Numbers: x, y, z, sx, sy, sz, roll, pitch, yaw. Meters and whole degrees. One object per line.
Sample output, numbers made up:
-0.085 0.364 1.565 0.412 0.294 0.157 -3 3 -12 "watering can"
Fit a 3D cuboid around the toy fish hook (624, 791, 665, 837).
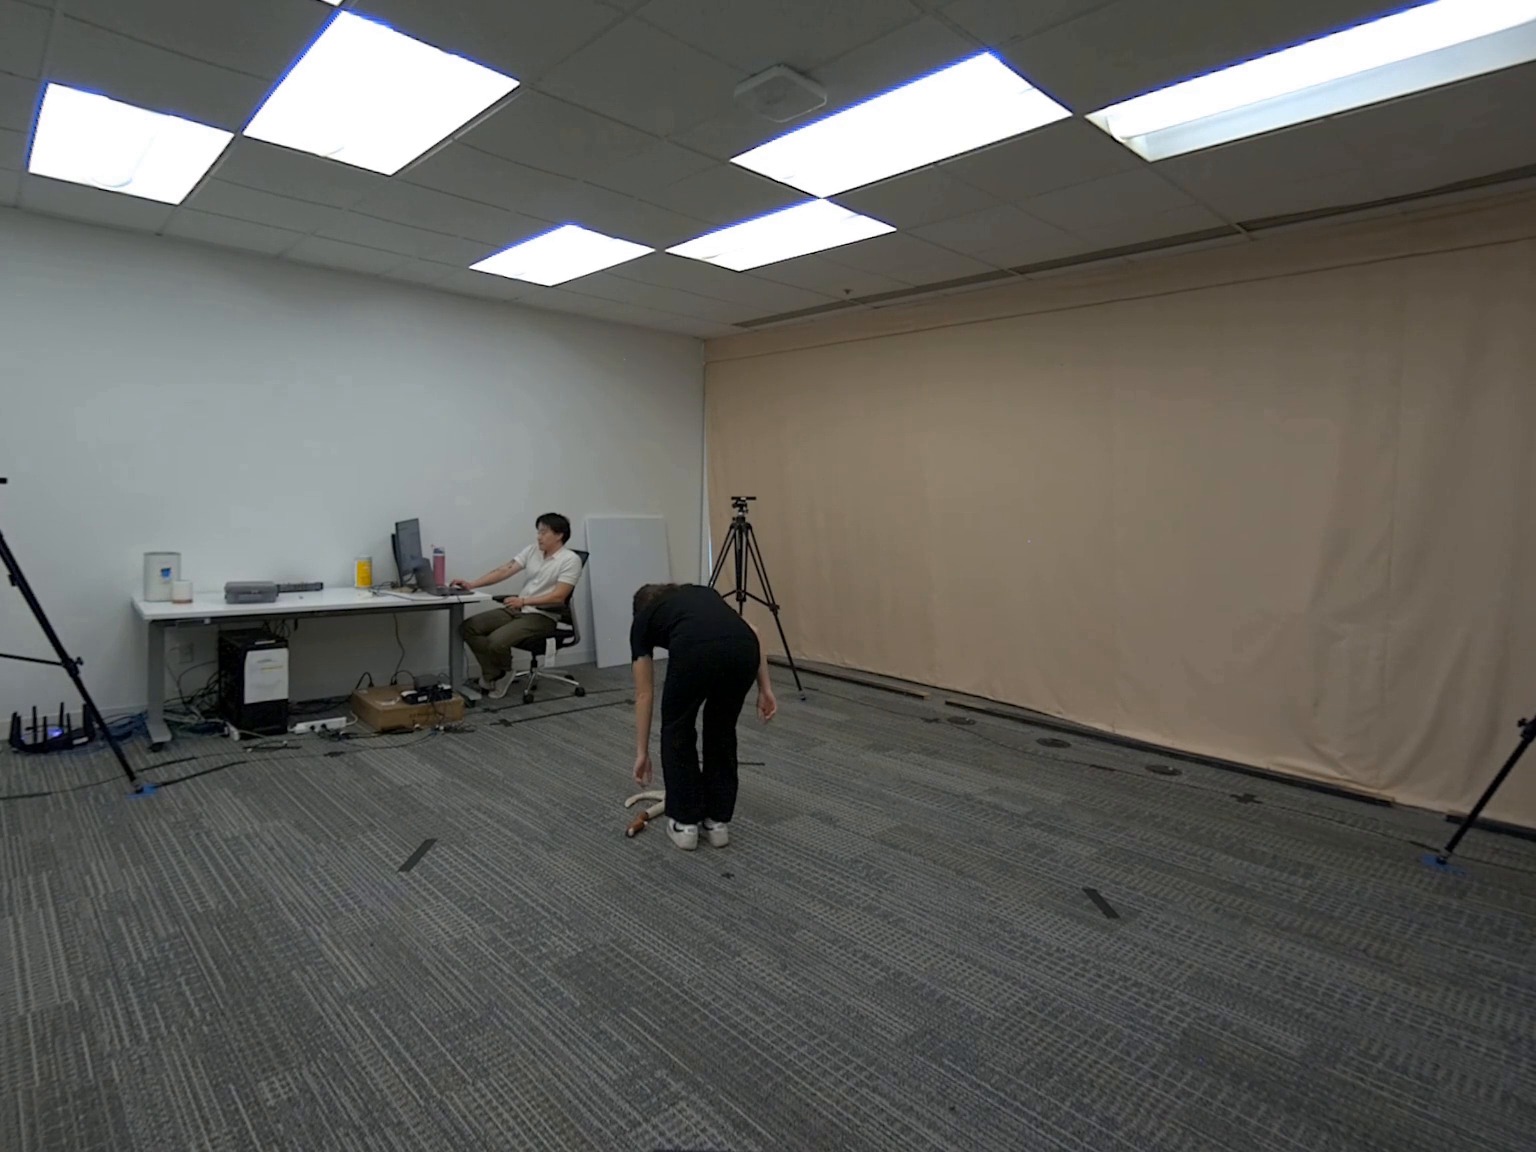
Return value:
-0.564 1.027 3.668 0.227 0.048 0.501 -4 2 14 "toy fish hook"
